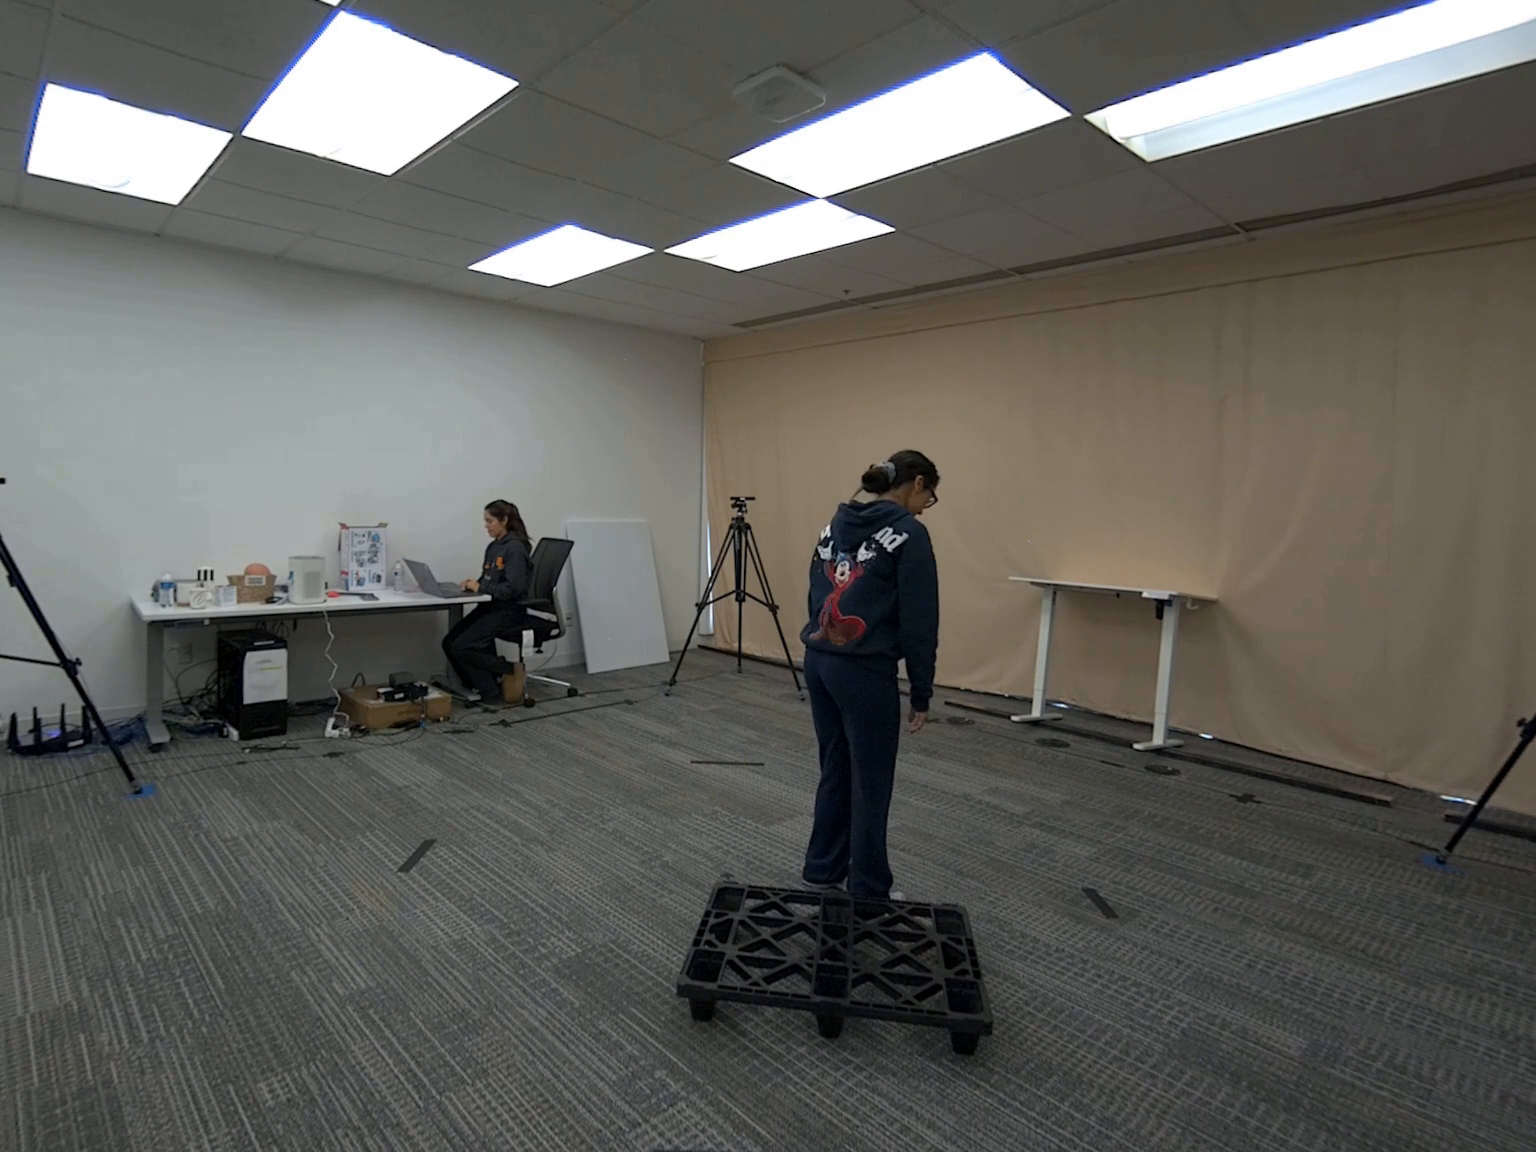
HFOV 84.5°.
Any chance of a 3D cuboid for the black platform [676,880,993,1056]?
[{"bbox_3d":[0.188,1.111,2.408,0.811,0.143,0.603,2,6,7],"label":"black platform"}]
